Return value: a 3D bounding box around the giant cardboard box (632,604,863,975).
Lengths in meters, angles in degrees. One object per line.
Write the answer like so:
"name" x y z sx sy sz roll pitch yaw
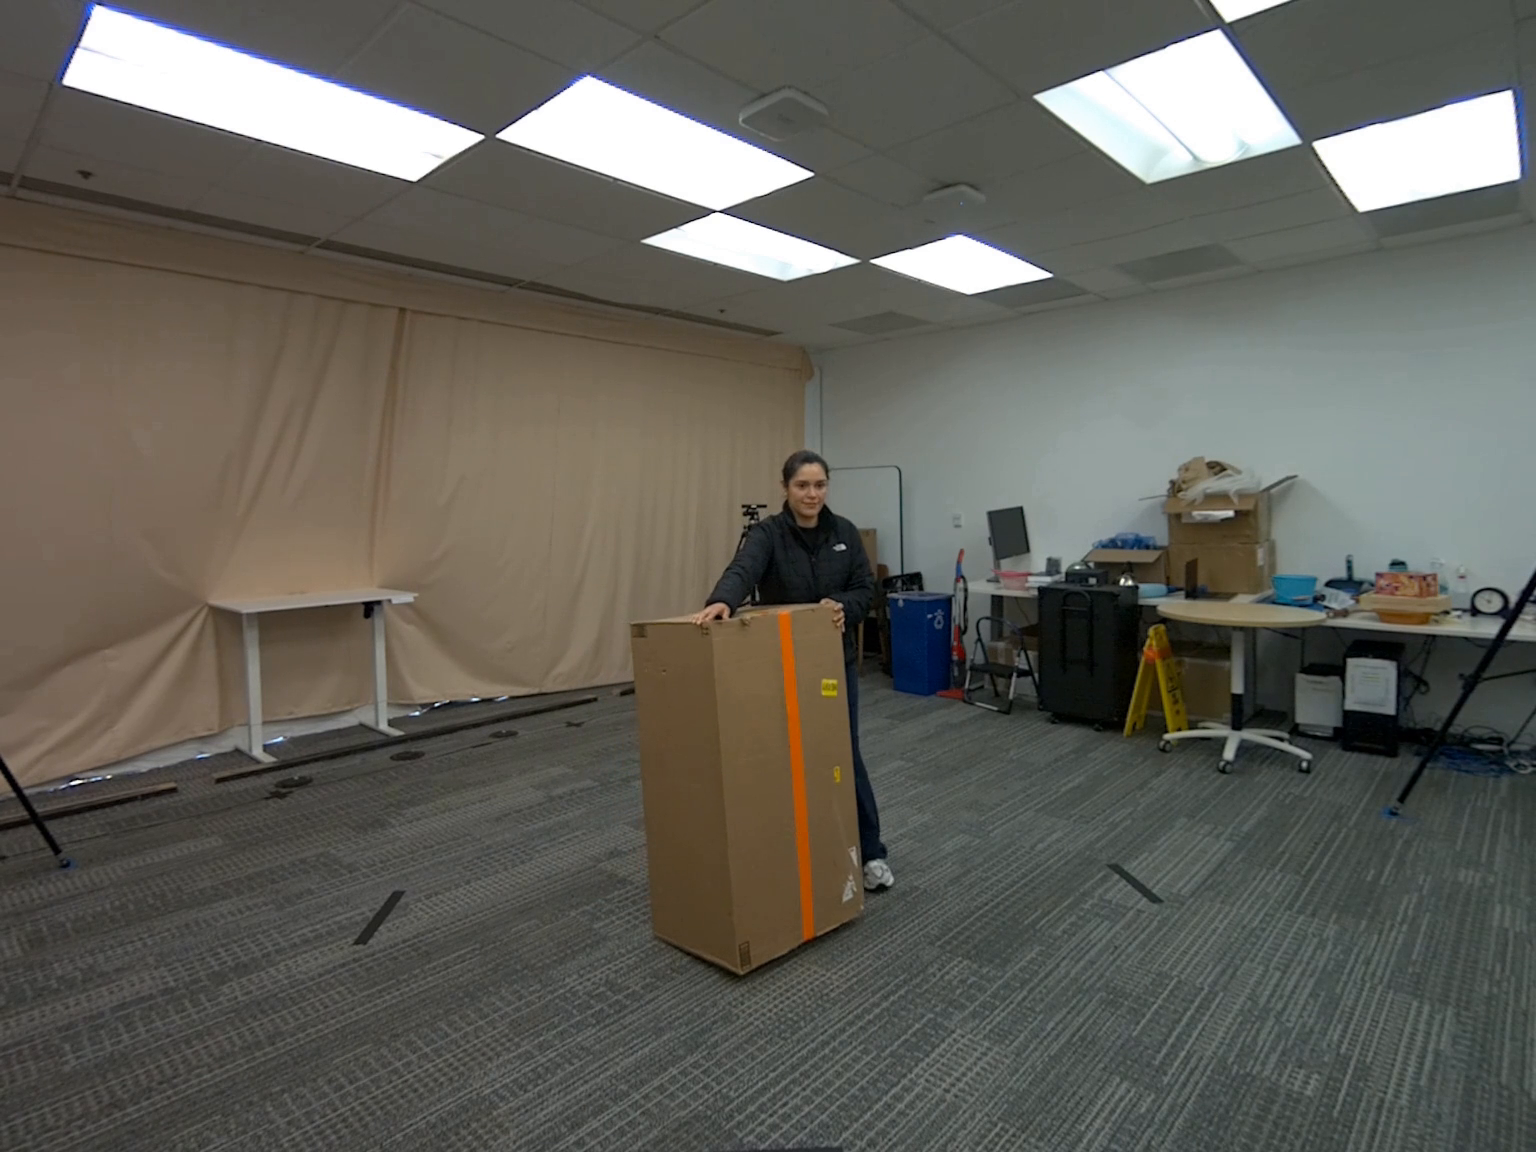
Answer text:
"giant cardboard box" -0.054 0.637 2.772 0.560 1.026 0.439 -4 -1 -43
